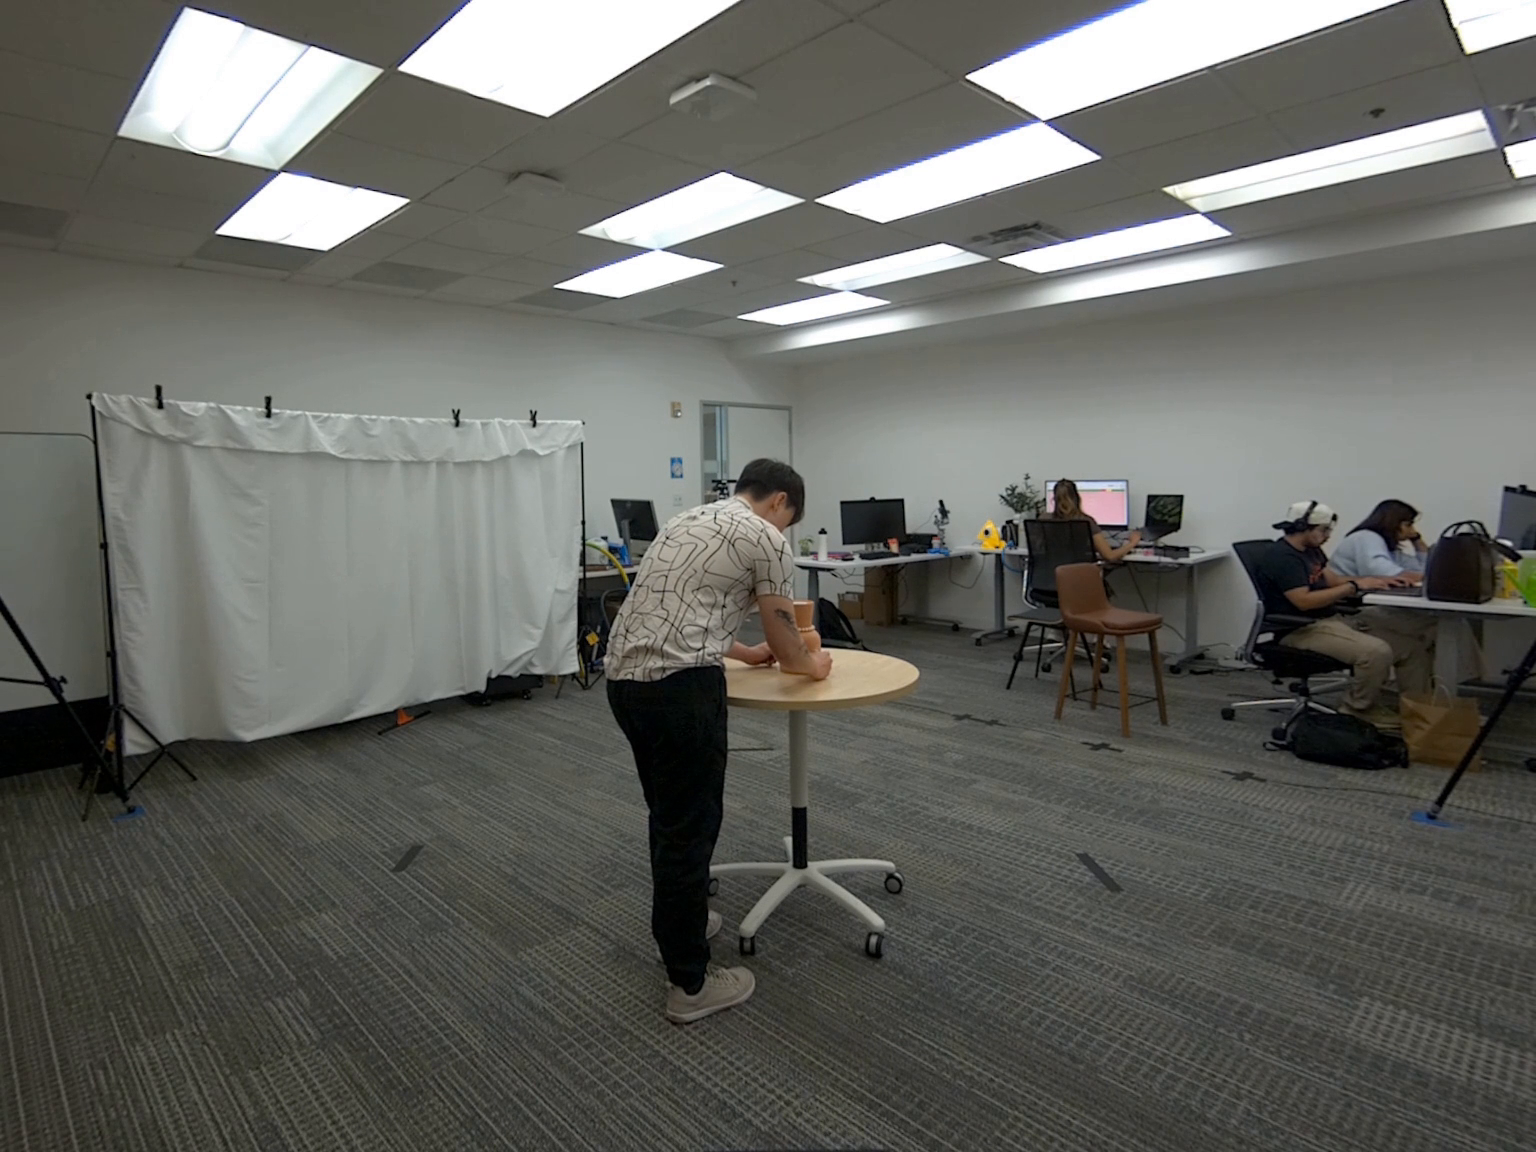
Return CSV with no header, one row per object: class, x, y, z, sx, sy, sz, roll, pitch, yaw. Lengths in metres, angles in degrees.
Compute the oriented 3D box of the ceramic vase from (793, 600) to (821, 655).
ceramic vase,0.104,0.196,2.733,0.160,0.218,0.134,-1,6,9
